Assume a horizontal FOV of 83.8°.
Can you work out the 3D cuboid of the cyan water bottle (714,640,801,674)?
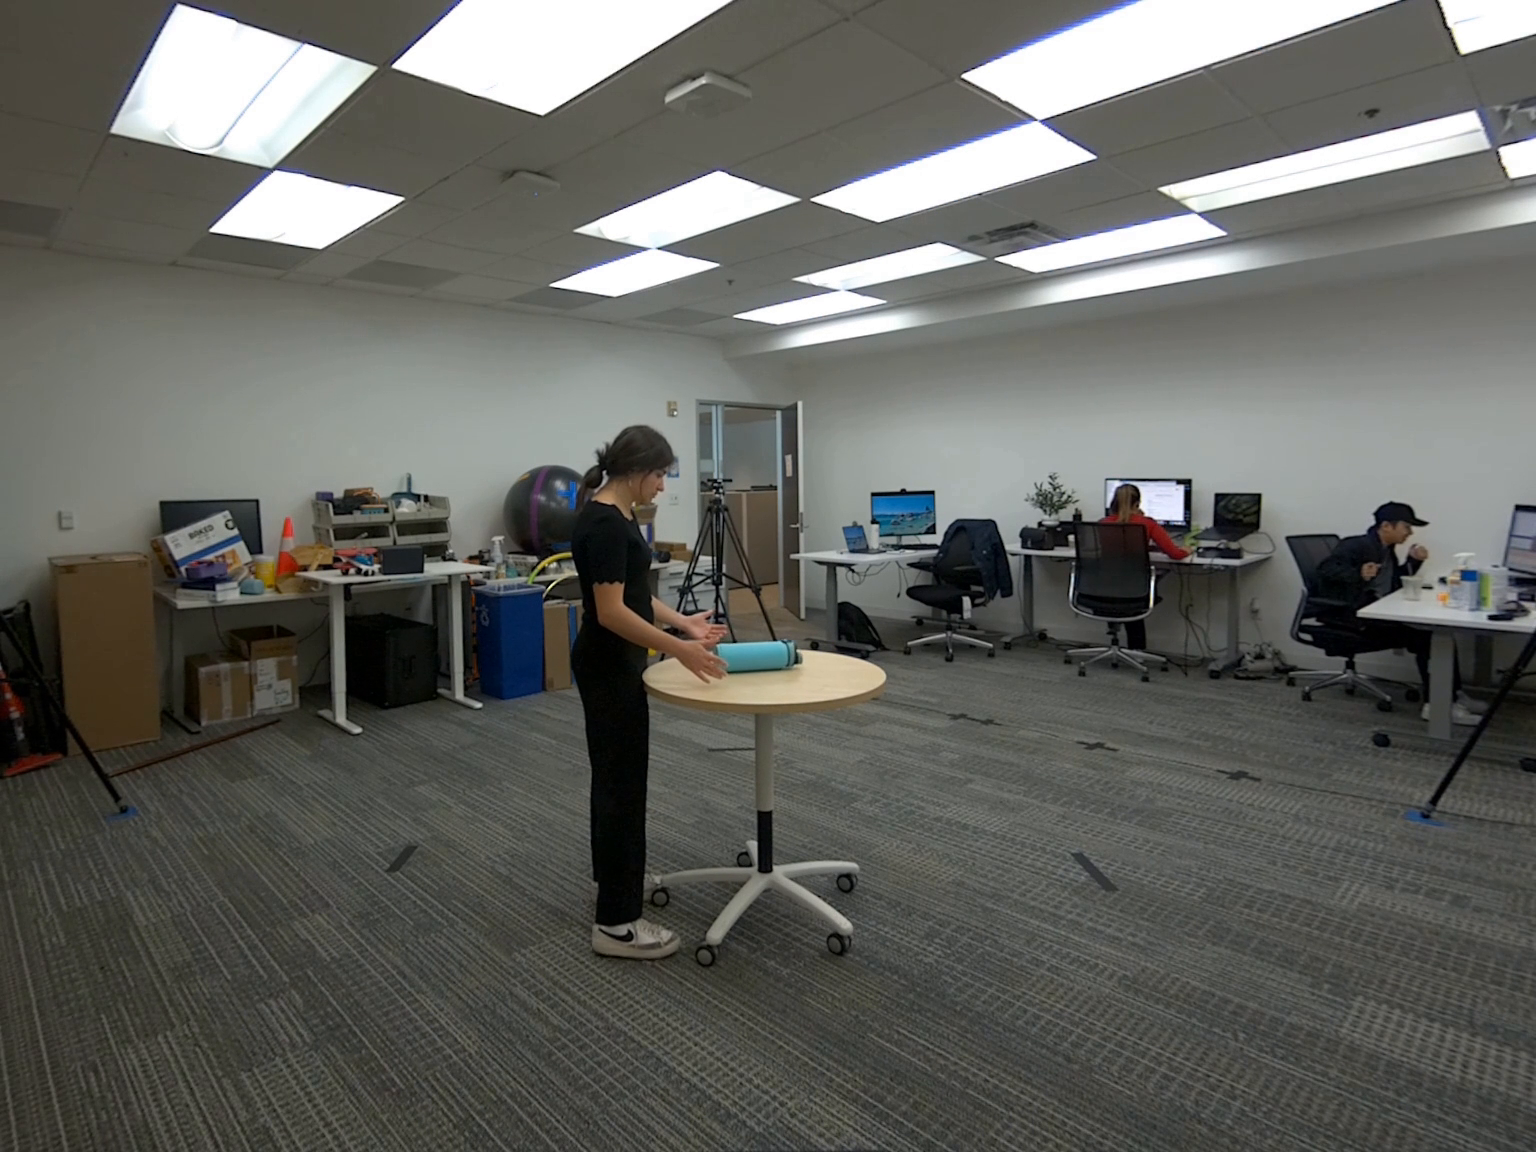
[{"bbox_3d":[-0.030,0.254,2.732,0.279,0.092,0.094,-2,5,-15],"label":"cyan water bottle"}]
